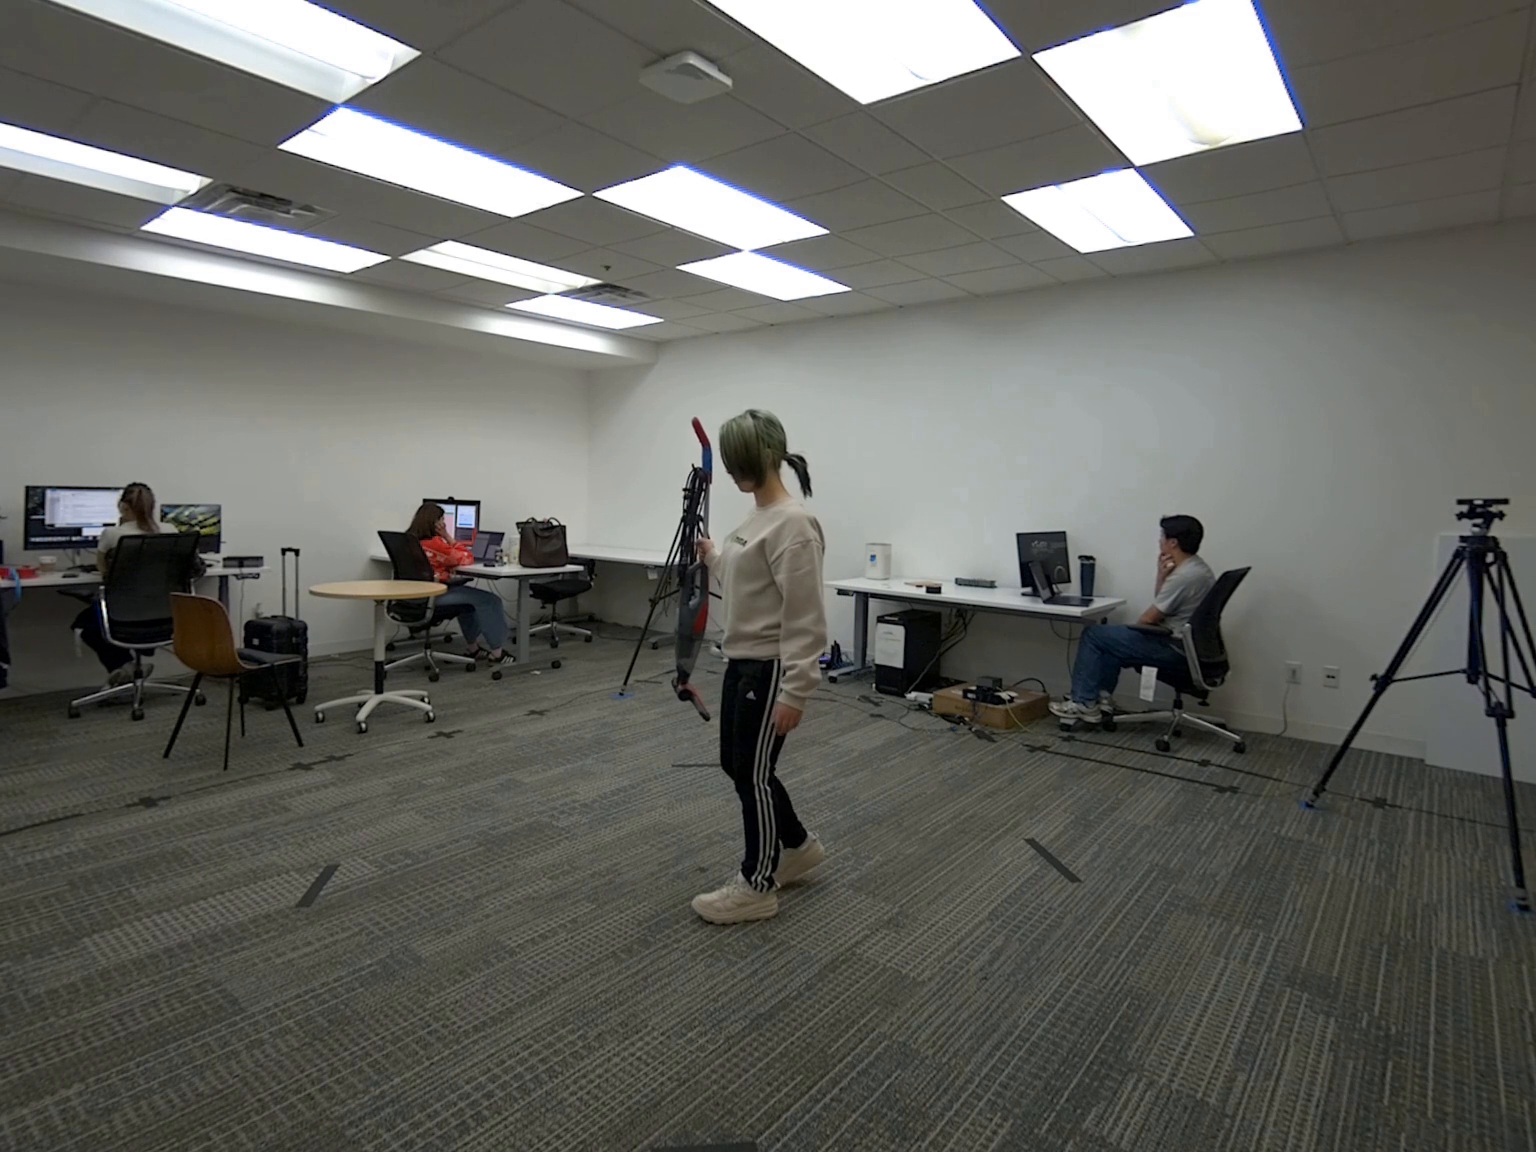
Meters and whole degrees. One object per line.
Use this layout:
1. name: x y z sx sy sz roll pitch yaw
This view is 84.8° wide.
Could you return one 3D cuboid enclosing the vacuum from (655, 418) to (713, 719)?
1. vacuum: -0.290 -0.045 3.126 0.142 1.037 0.259 -1 13 -14
